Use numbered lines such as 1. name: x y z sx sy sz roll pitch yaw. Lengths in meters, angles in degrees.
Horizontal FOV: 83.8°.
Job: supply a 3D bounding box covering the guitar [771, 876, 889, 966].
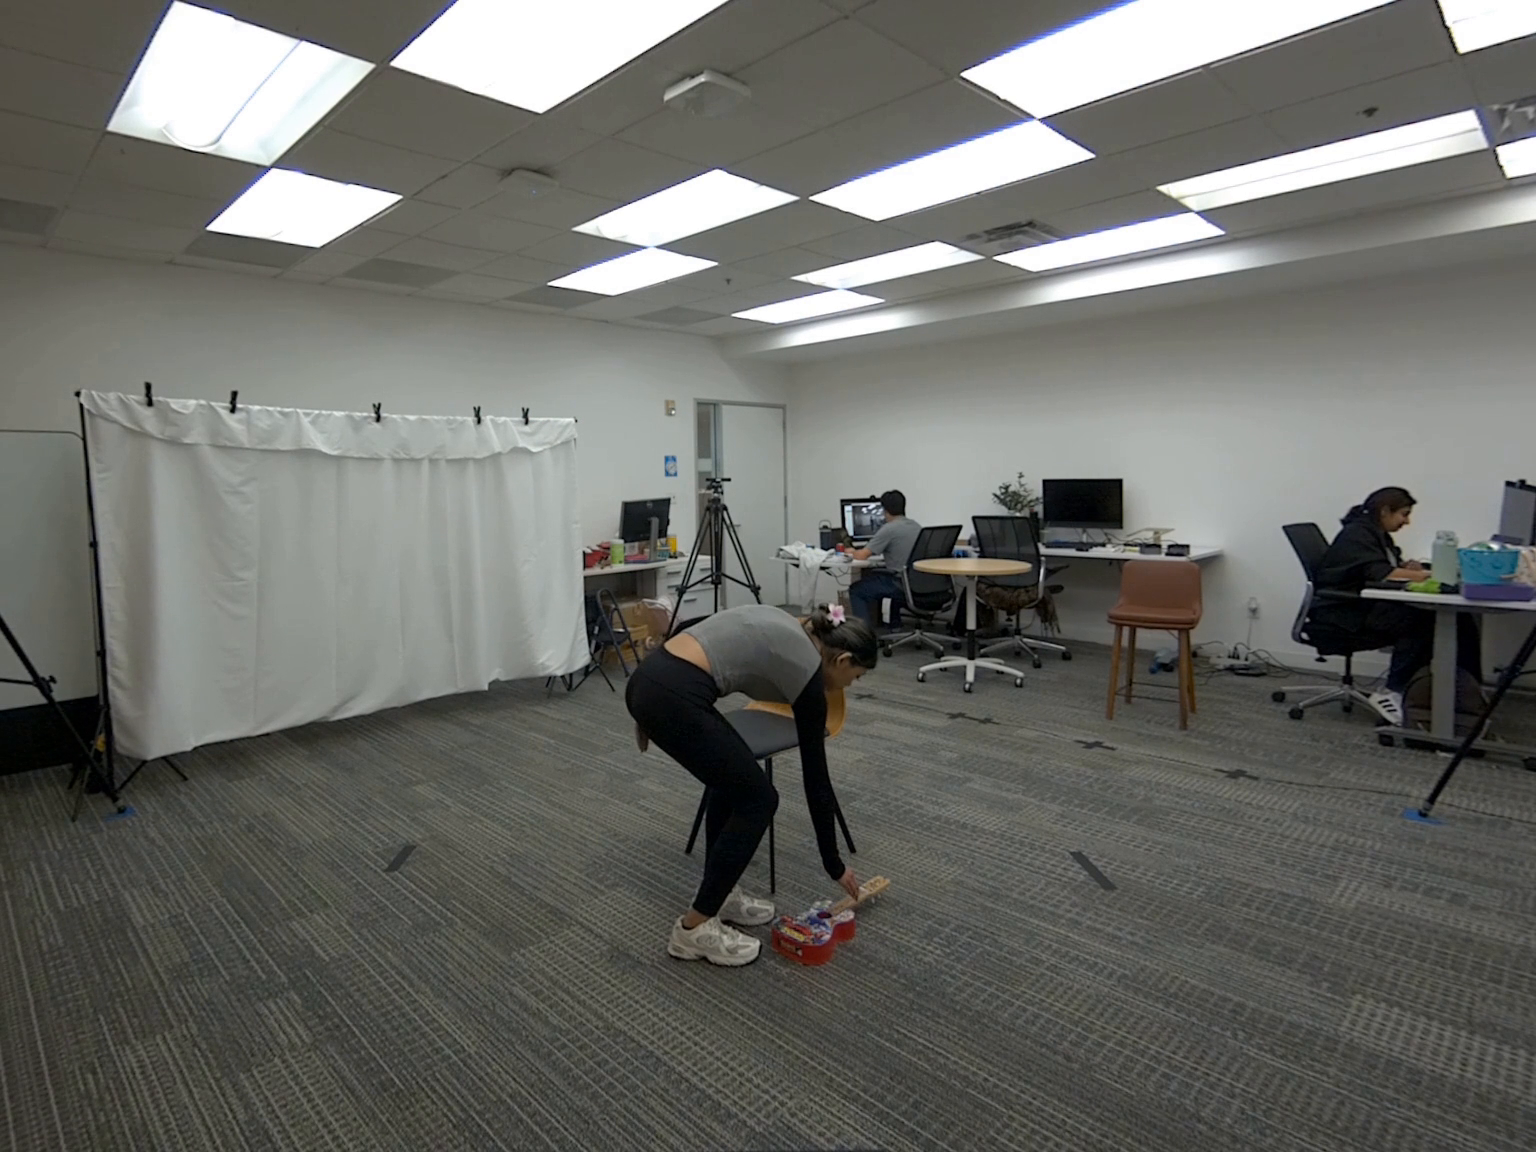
1. guitar: 0.242 1.058 2.638 0.485 0.070 0.199 -7 9 -37
